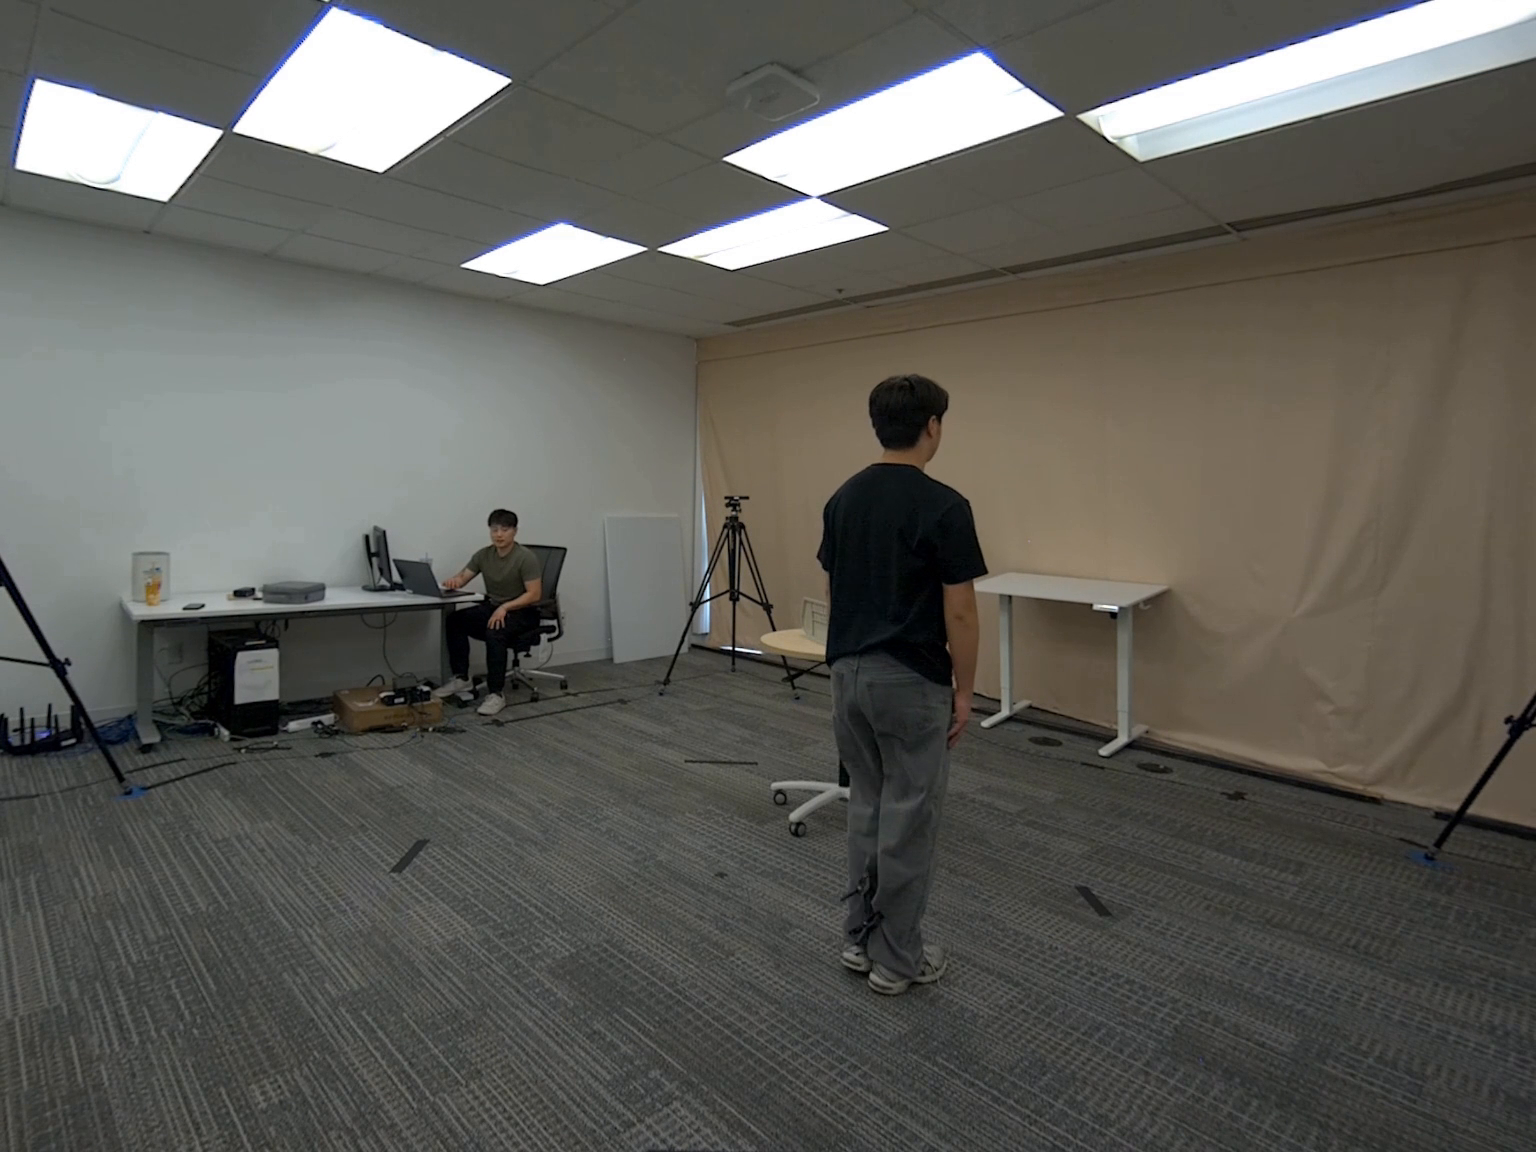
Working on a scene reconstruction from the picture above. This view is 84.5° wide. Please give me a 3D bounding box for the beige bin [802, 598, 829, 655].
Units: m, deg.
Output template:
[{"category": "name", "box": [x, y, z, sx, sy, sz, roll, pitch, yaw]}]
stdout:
[{"category": "beige bin", "box": [0.402, 0.195, 3.689, 0.416, 0.188, 0.384, 0, 6, -19]}]
